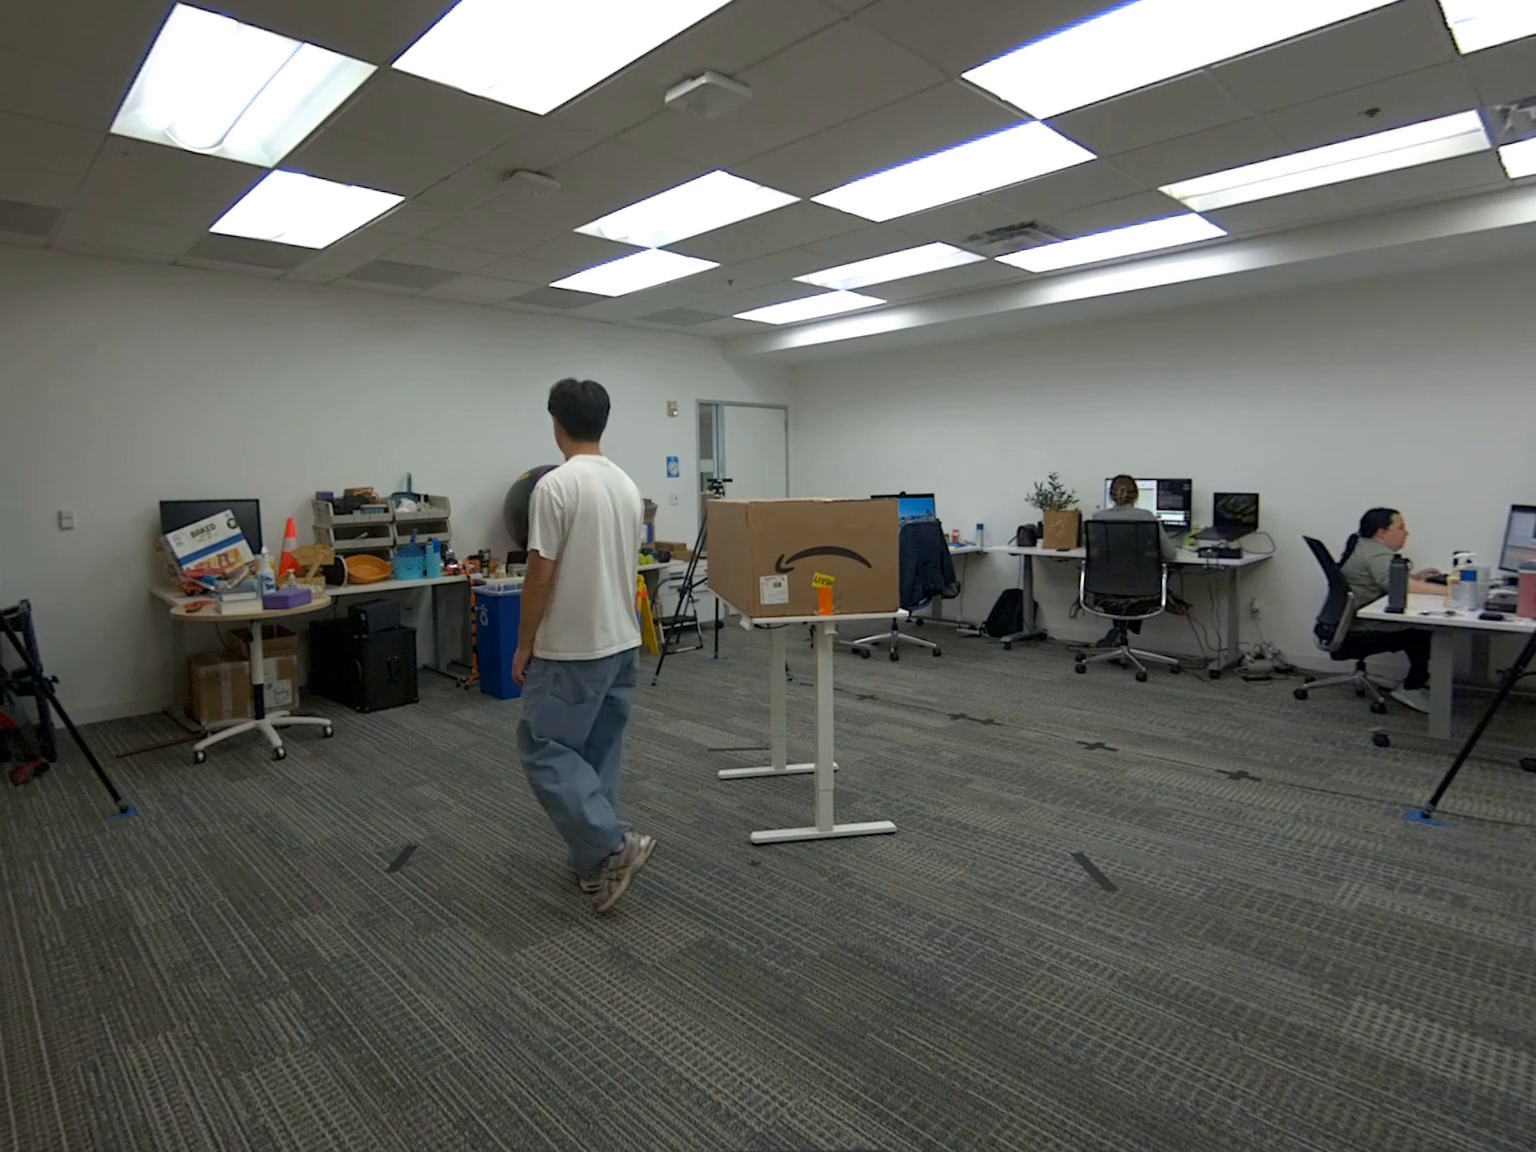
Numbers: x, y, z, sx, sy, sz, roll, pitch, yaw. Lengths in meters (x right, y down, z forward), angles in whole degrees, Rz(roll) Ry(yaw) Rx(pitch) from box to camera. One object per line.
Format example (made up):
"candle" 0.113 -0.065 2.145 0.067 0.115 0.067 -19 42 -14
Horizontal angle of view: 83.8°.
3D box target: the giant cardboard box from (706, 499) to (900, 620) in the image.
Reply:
"giant cardboard box" 0.098 -0.112 3.646 0.572 0.424 1.040 -3 6 -11
